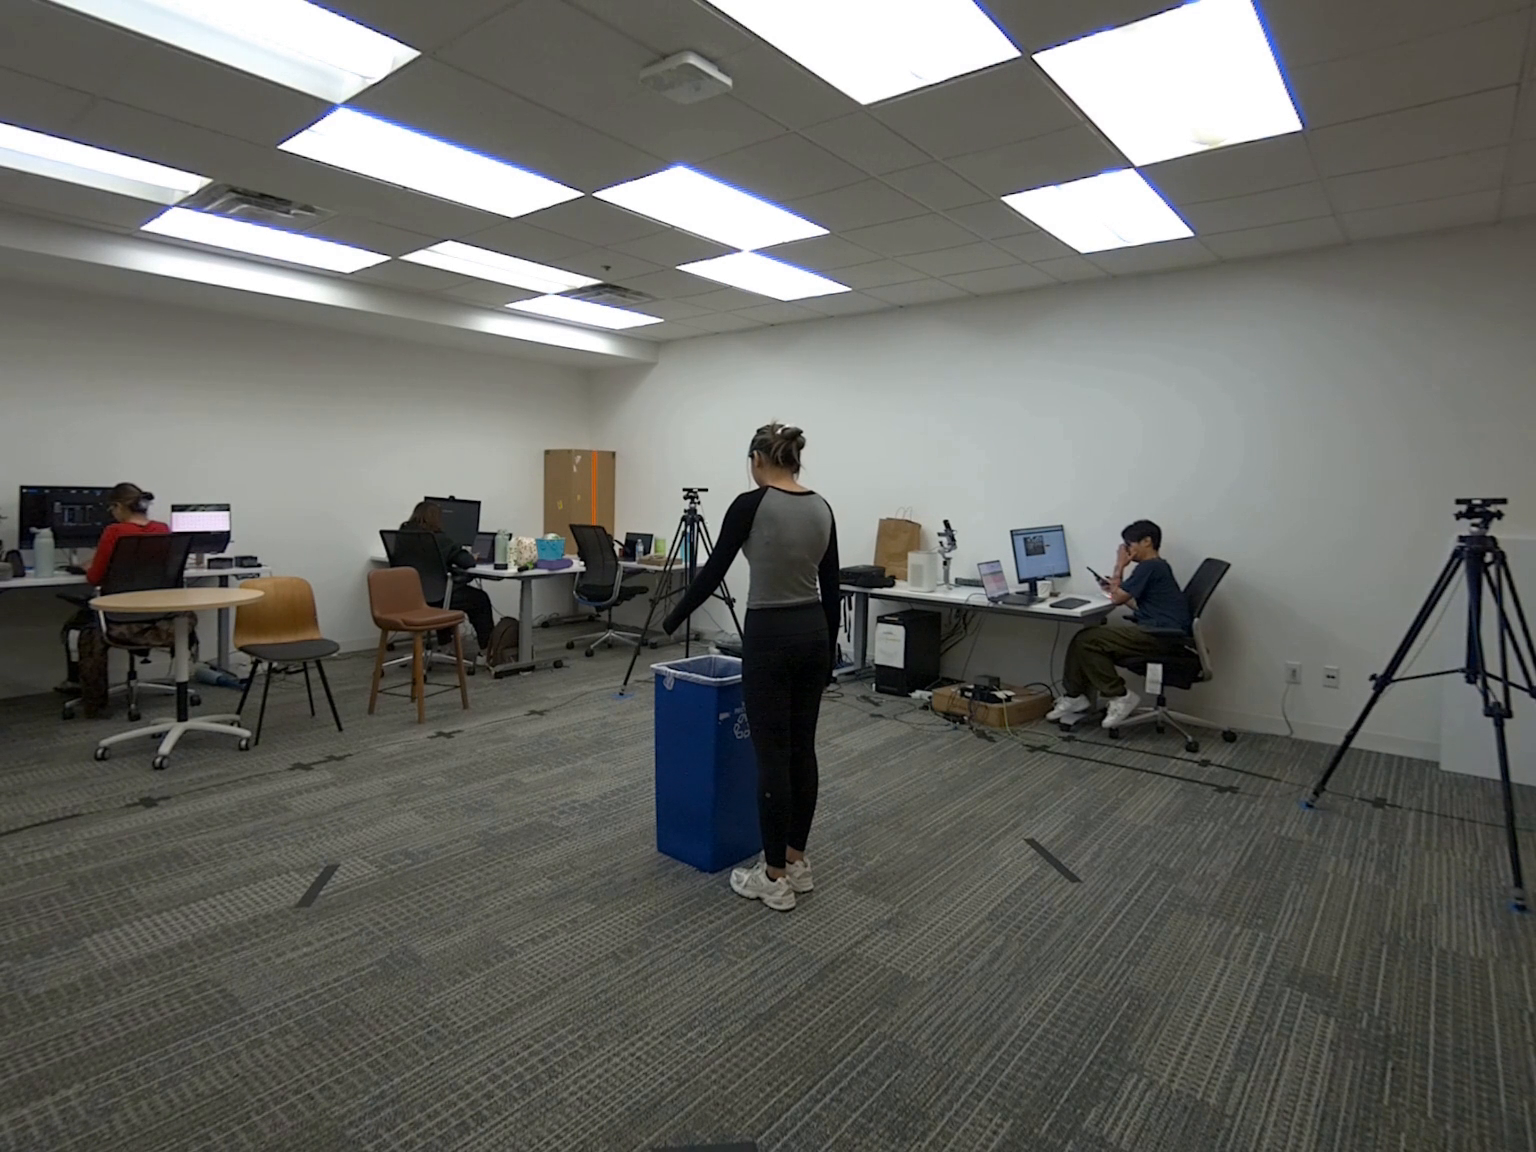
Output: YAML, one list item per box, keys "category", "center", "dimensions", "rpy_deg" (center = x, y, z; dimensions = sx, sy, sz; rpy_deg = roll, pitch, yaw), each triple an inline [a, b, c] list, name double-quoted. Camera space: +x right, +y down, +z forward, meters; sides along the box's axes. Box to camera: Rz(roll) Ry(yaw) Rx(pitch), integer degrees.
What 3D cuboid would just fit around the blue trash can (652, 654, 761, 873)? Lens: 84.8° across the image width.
- category: "blue trash can"
  center: [-0.224, 0.696, 3.268]
  dimensions: [0.391, 0.711, 0.363]
  rpy_deg: [4, 5, 41]
